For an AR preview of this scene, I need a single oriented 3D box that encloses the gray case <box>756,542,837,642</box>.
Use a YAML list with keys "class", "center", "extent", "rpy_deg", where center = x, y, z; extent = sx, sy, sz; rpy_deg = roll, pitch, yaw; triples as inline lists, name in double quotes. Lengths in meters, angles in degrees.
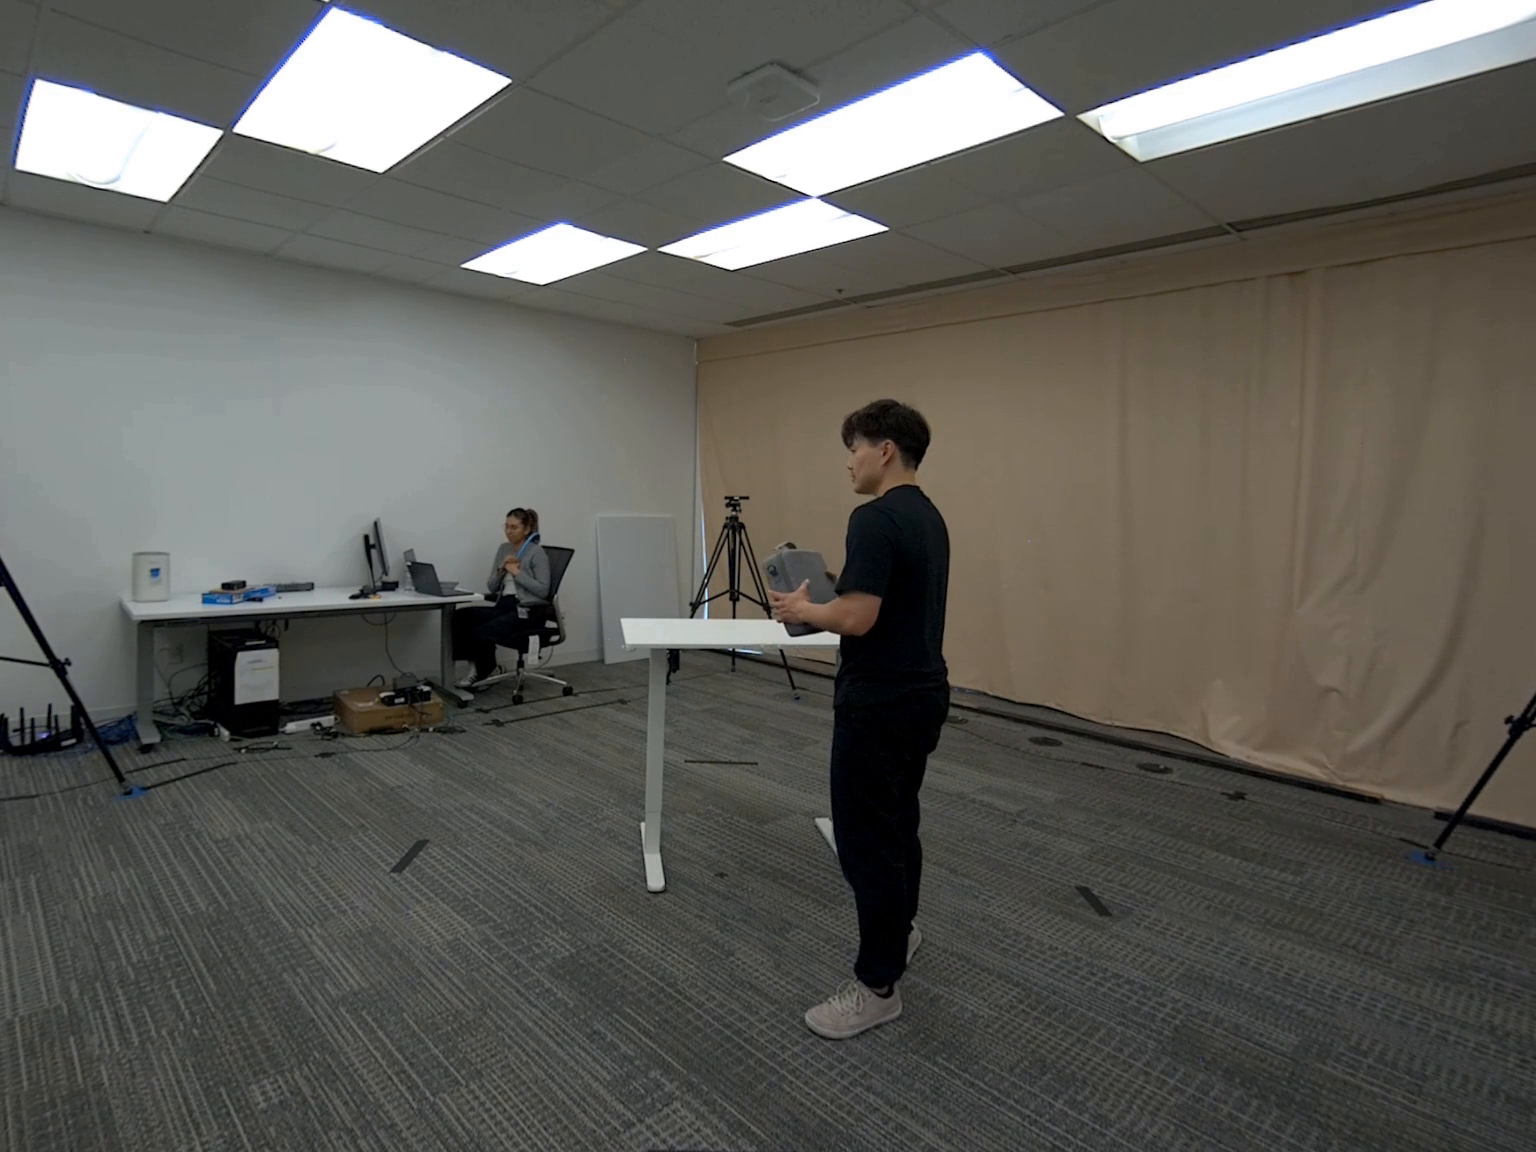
- class: "gray case"
  center: [0.112, 0.044, 2.520]
  extent: [0.105, 0.264, 0.251]
  rpy_deg: [-27, -13, 24]
